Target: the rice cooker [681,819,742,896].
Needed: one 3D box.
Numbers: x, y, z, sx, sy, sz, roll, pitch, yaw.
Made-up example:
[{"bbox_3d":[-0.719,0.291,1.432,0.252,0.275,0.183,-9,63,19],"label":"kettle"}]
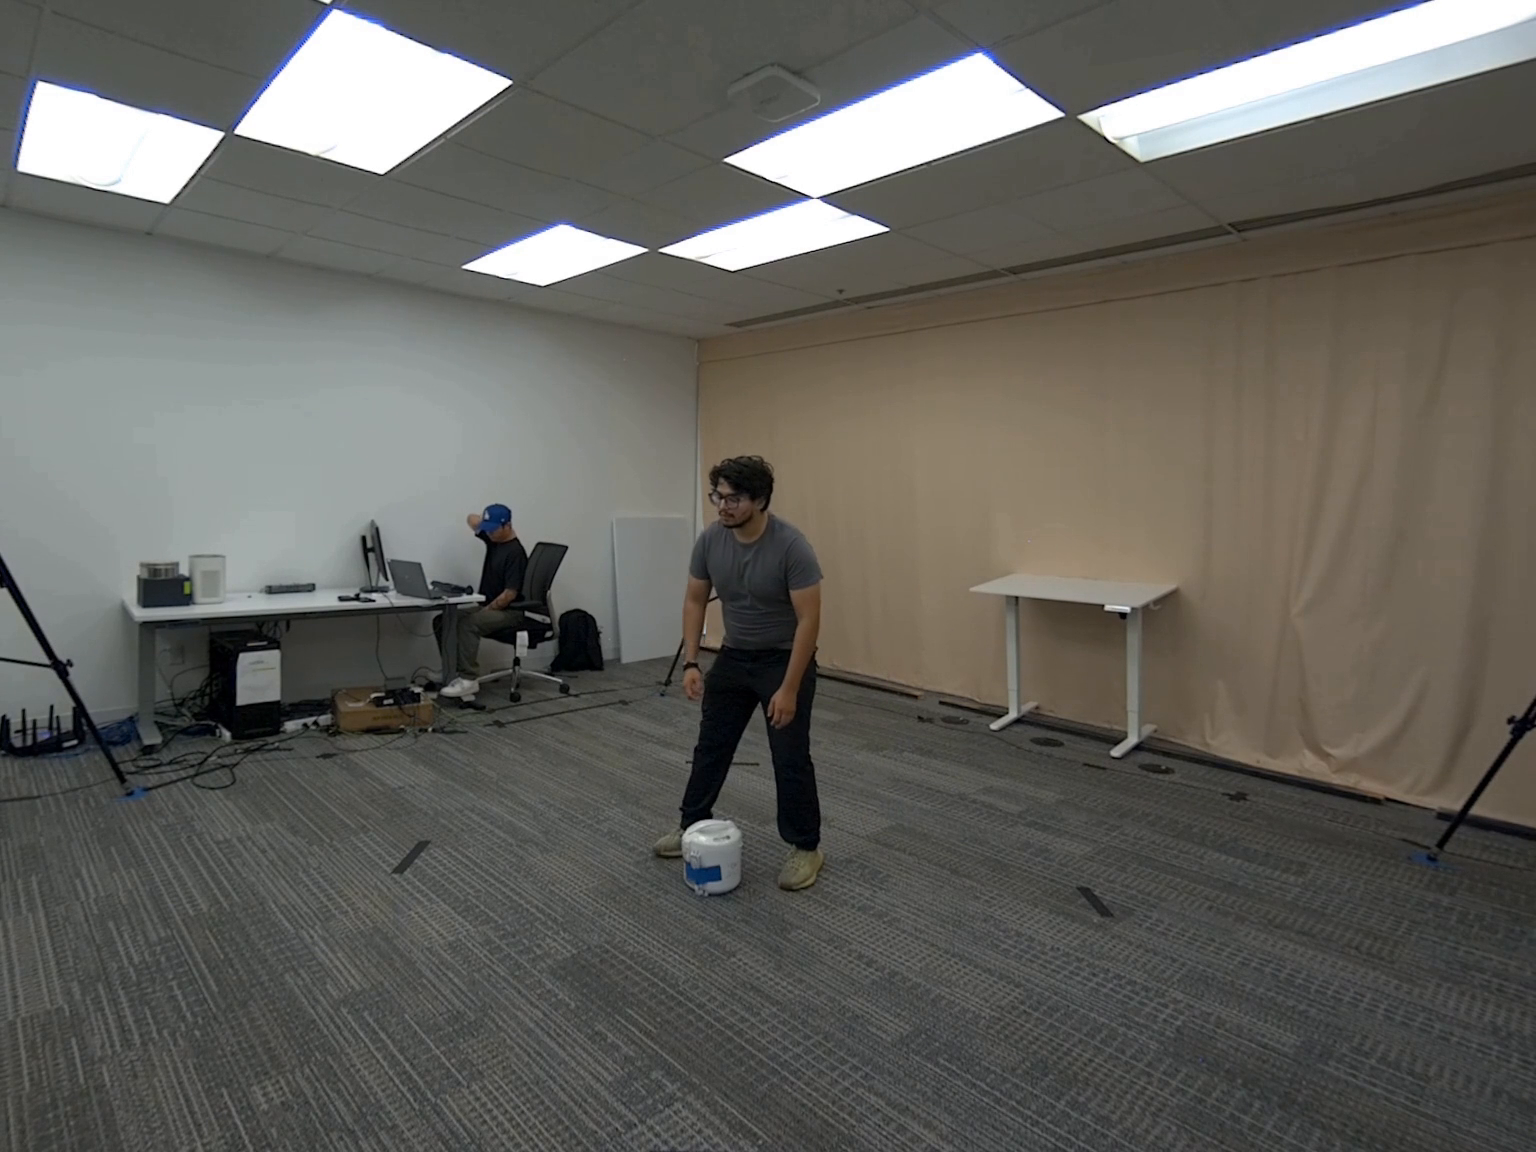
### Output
[{"bbox_3d":[-0.211,0.995,3.023,0.217,0.232,0.221,0,5,-21],"label":"rice cooker"}]
